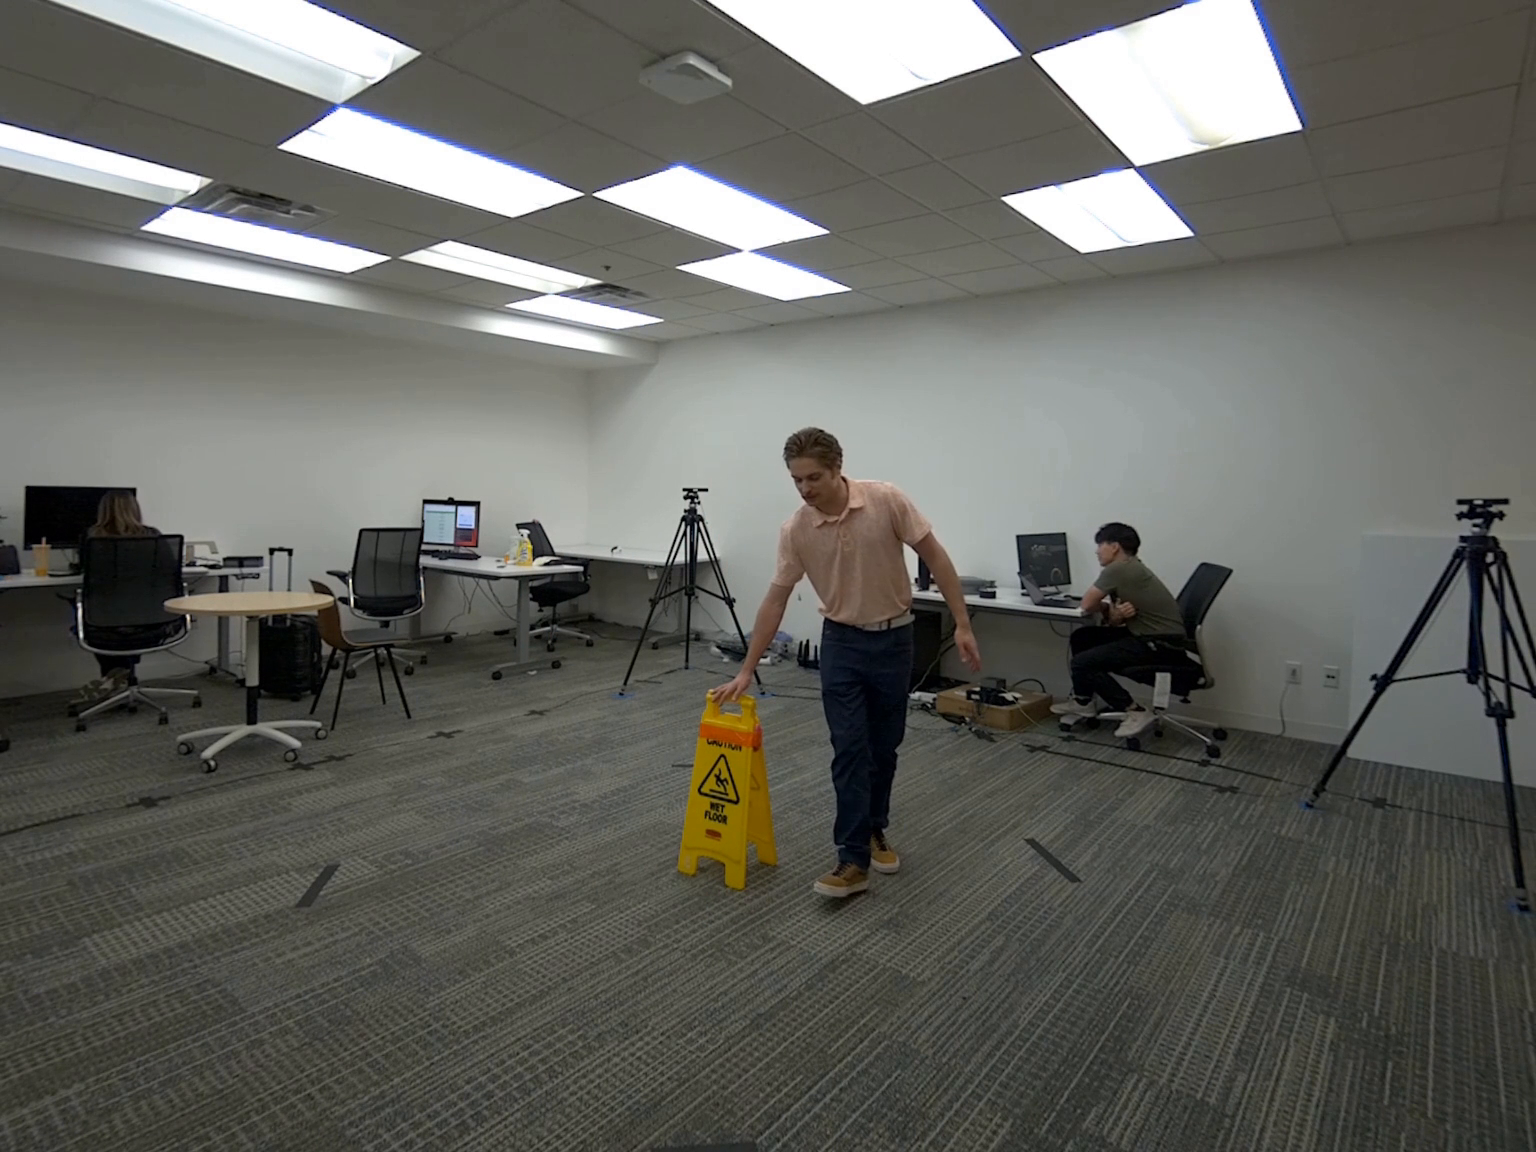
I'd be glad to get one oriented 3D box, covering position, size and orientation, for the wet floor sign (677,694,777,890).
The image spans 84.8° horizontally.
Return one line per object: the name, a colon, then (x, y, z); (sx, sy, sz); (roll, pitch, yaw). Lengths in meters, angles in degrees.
wet floor sign: (-0.154, 0.746, 3.112); (0.290, 0.644, 0.282); (2, 4, 31)
